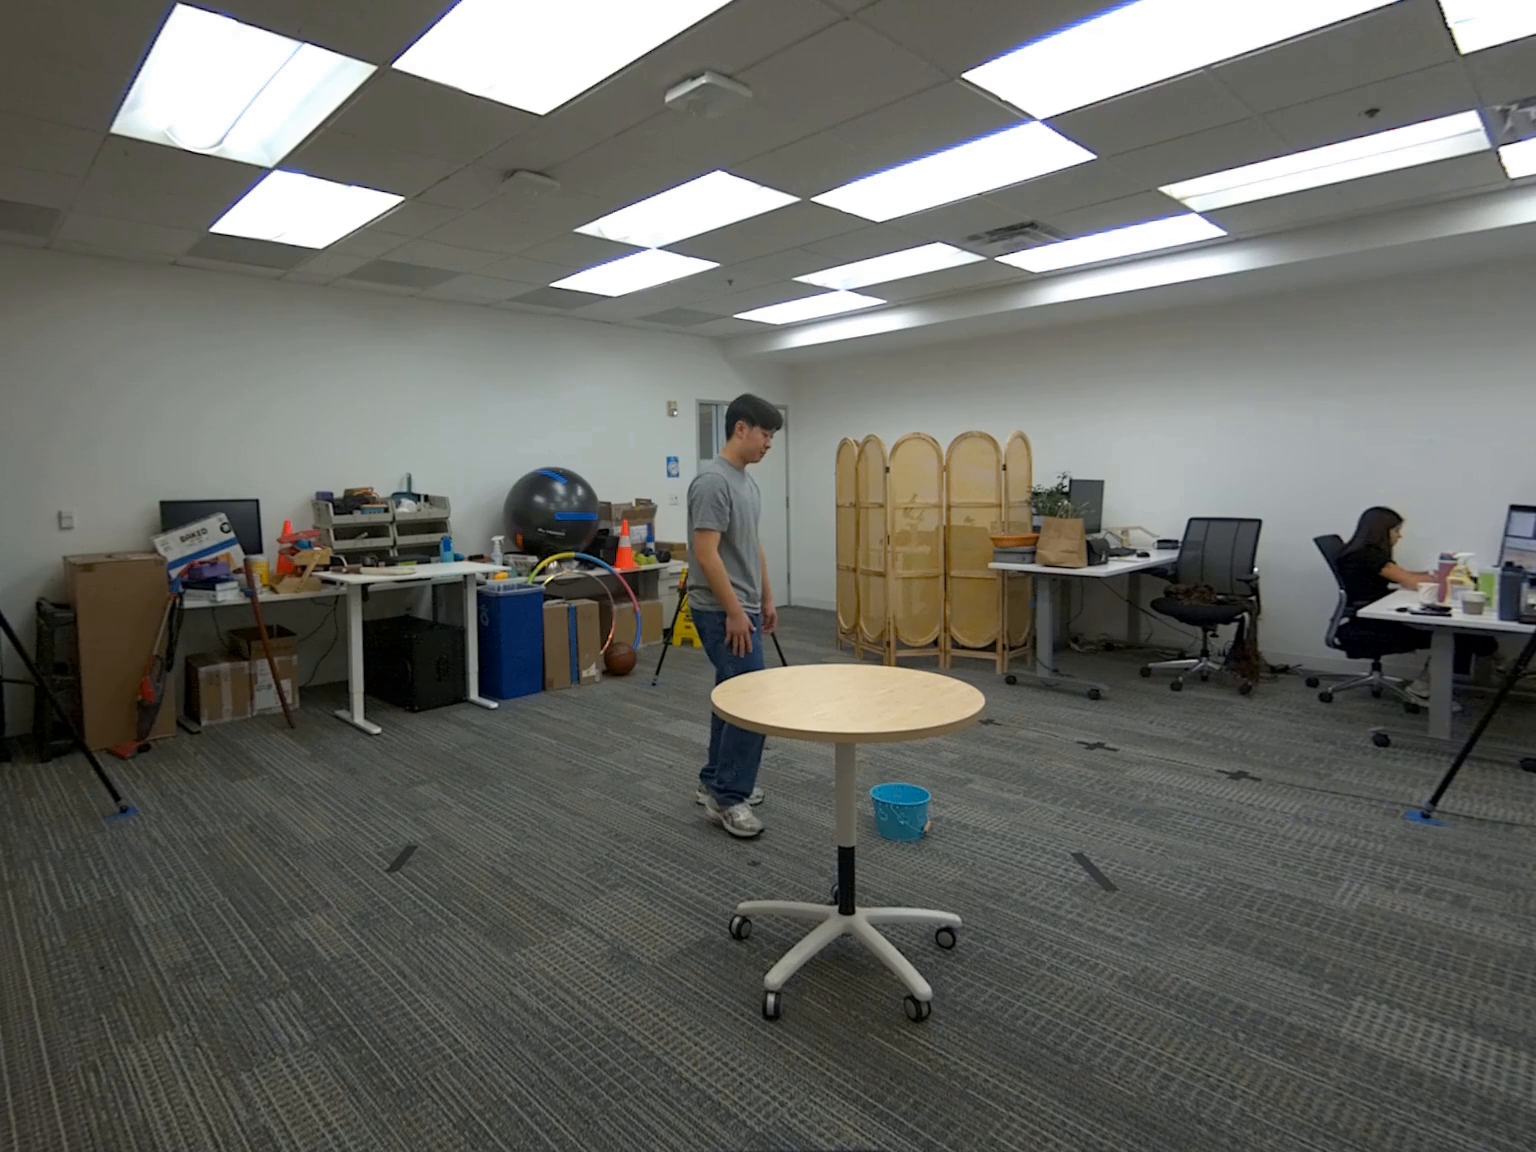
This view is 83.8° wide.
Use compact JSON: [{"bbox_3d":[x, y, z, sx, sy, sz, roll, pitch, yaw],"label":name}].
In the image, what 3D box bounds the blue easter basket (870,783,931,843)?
[{"bbox_3d":[0.526,0.929,3.354,0.243,0.155,0.245,-2,5,-2],"label":"blue easter basket"}]
